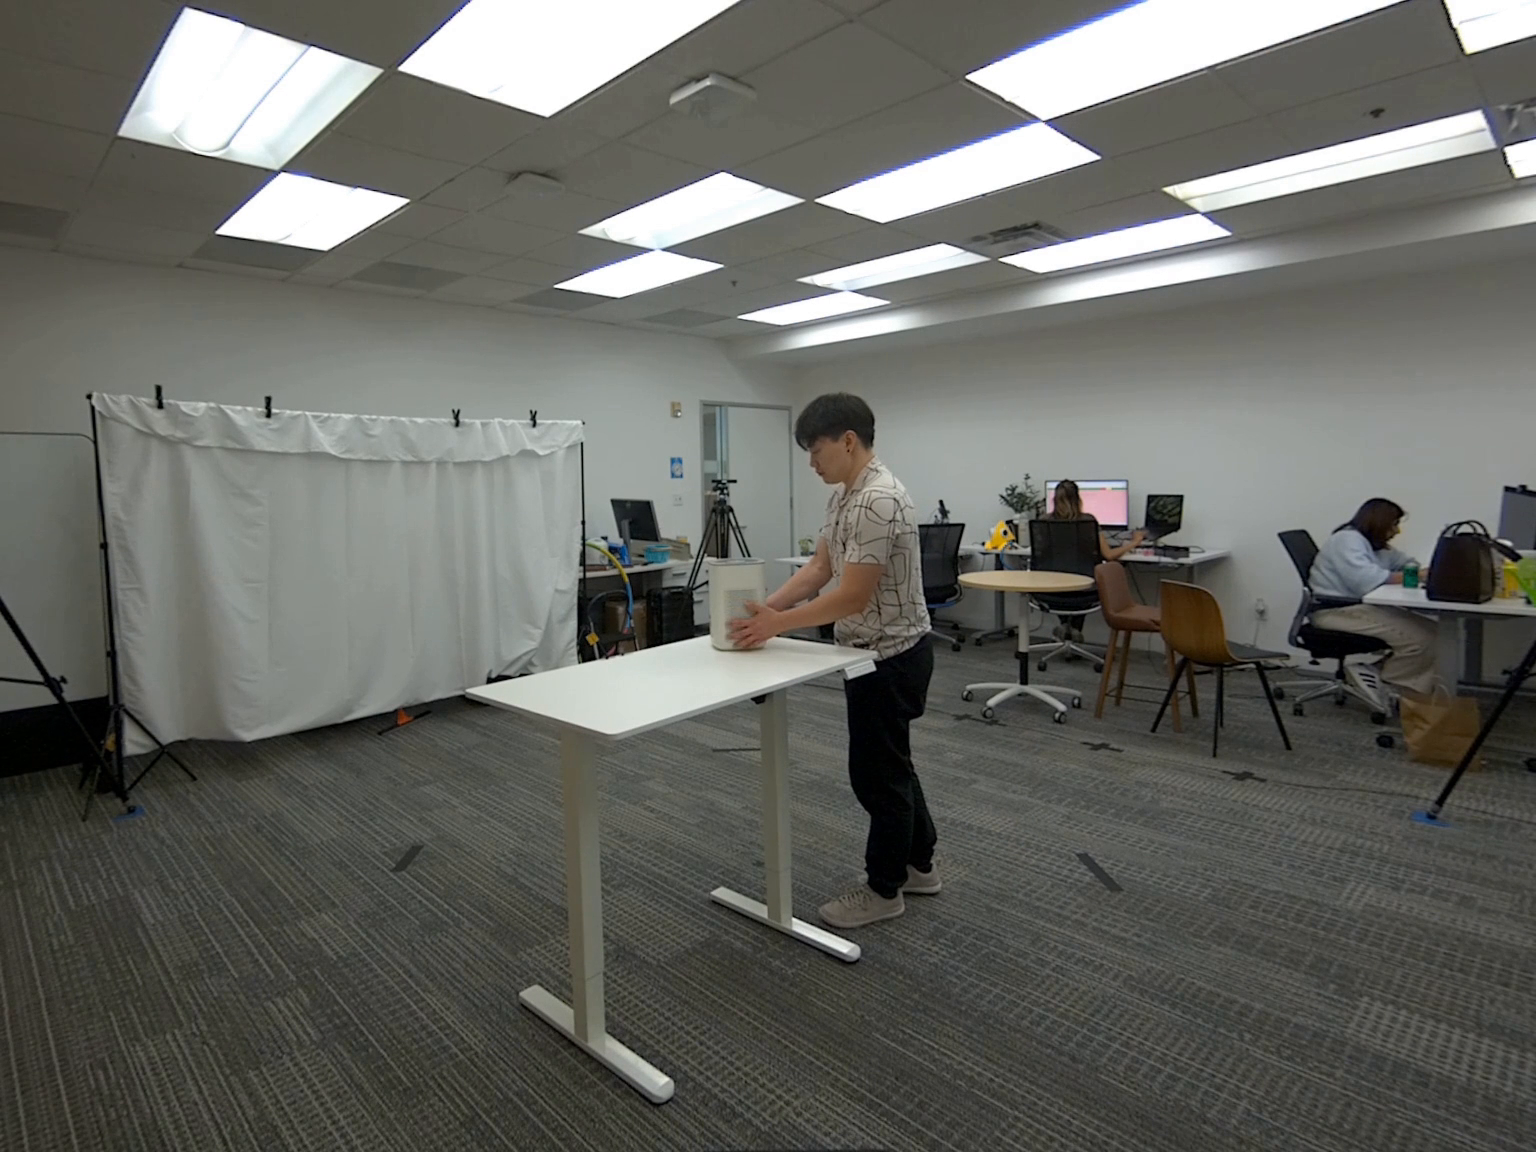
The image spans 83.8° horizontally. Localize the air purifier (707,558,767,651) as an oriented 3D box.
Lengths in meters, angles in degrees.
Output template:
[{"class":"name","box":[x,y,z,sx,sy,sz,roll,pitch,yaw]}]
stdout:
[{"class":"air purifier","box":[-0.087,0.085,2.631,0.171,0.264,0.172,-1,4,-6]}]
